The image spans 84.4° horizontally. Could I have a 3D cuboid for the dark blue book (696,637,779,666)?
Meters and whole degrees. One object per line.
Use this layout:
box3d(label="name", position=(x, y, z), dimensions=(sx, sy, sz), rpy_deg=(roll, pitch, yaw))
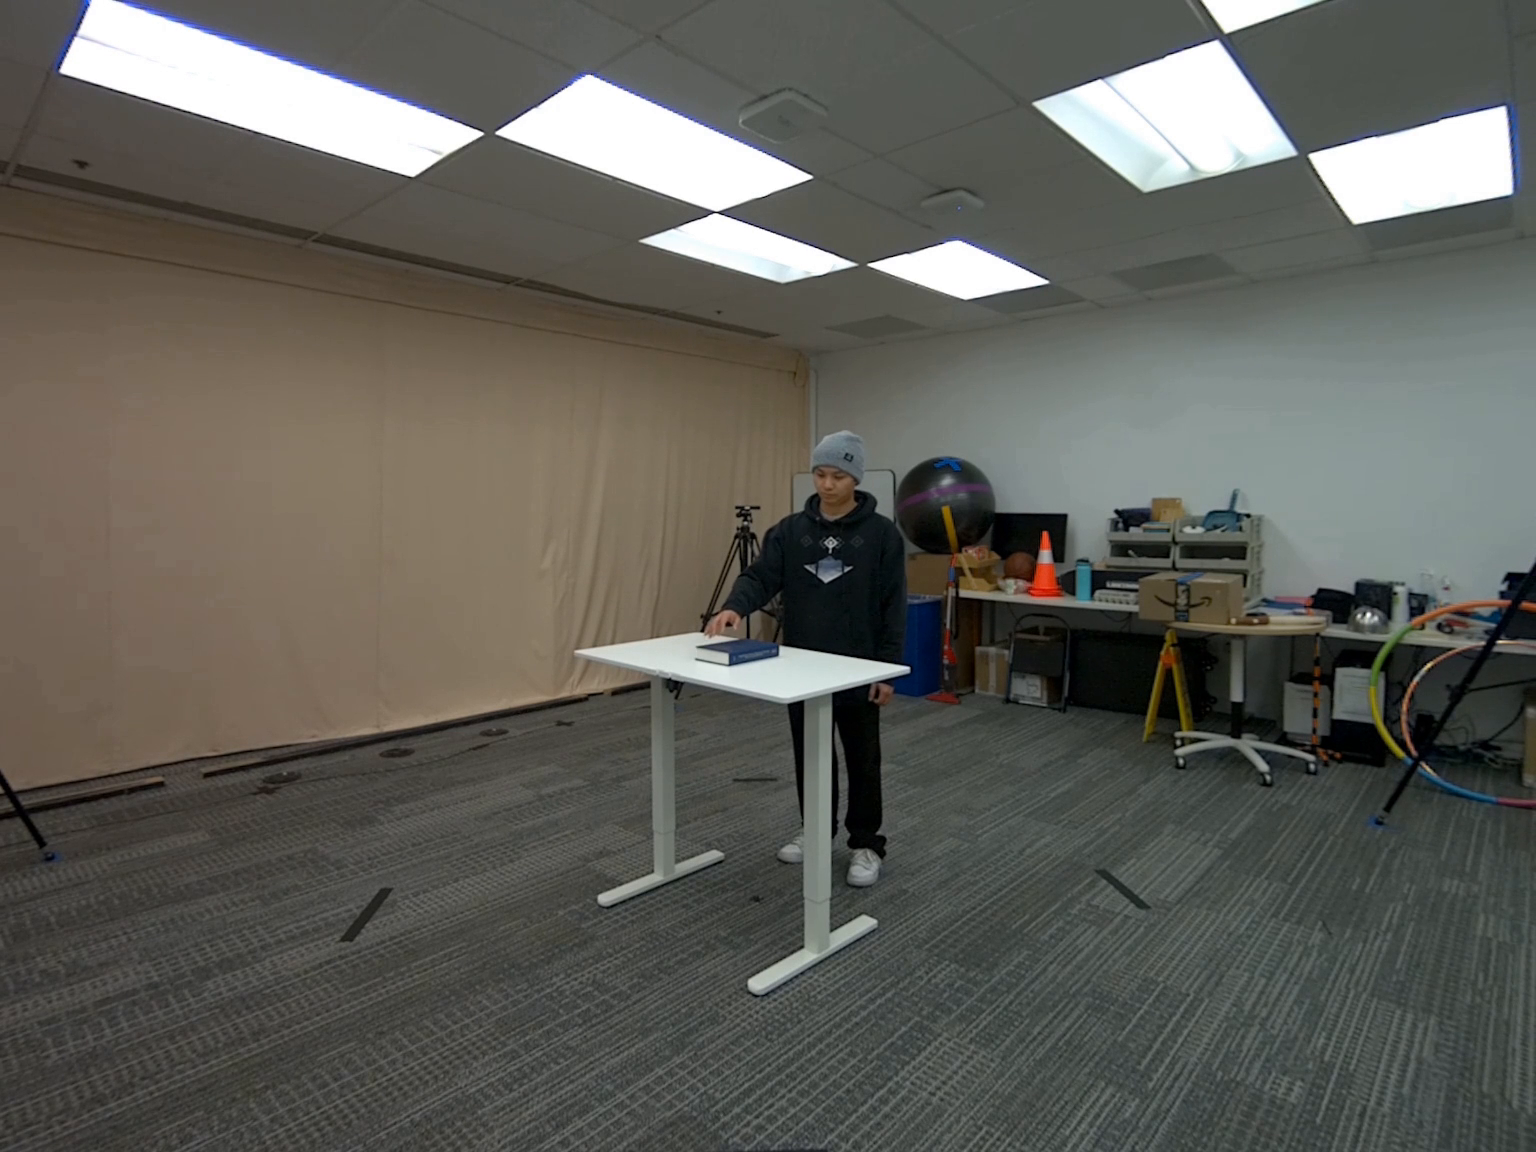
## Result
box3d(label="dark blue book", position=(-0.102, 0.256, 2.822), dimensions=(0.169, 0.045, 0.238), rpy_deg=(5, 7, 44))
